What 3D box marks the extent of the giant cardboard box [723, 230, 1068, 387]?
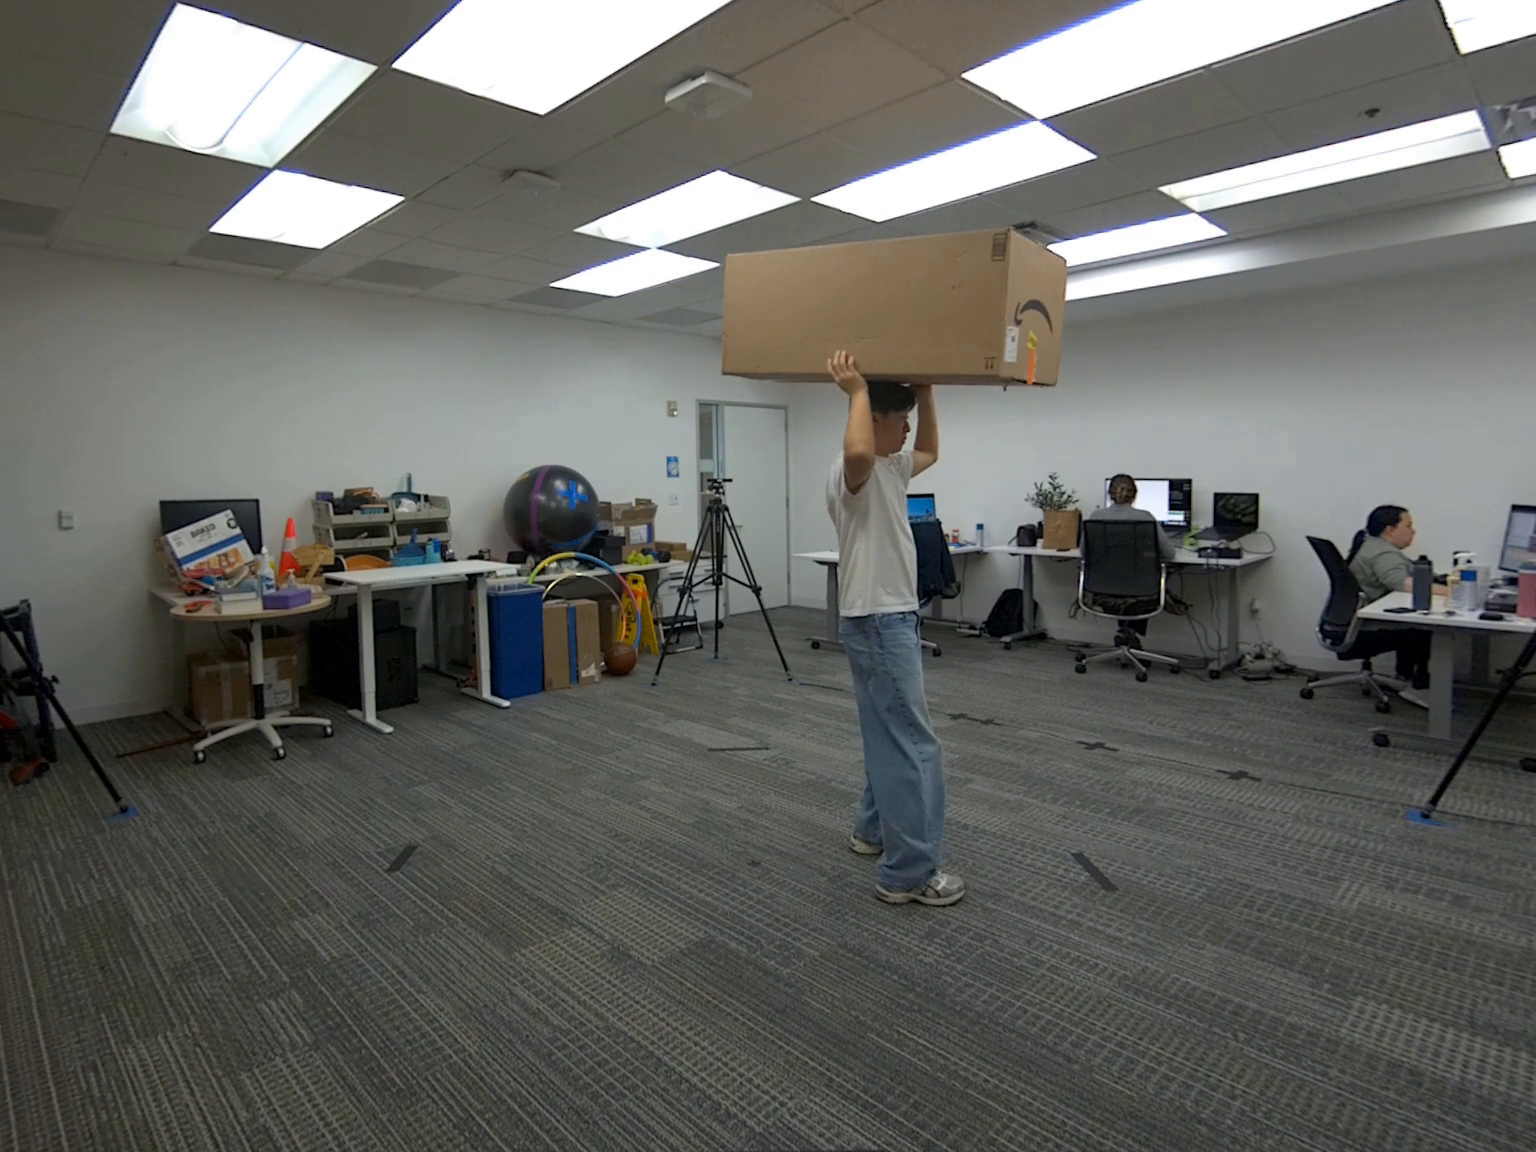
[{"bbox_3d":[0.417,-0.897,2.991,1.058,0.423,0.564,9,12,35],"label":"giant cardboard box"}]
